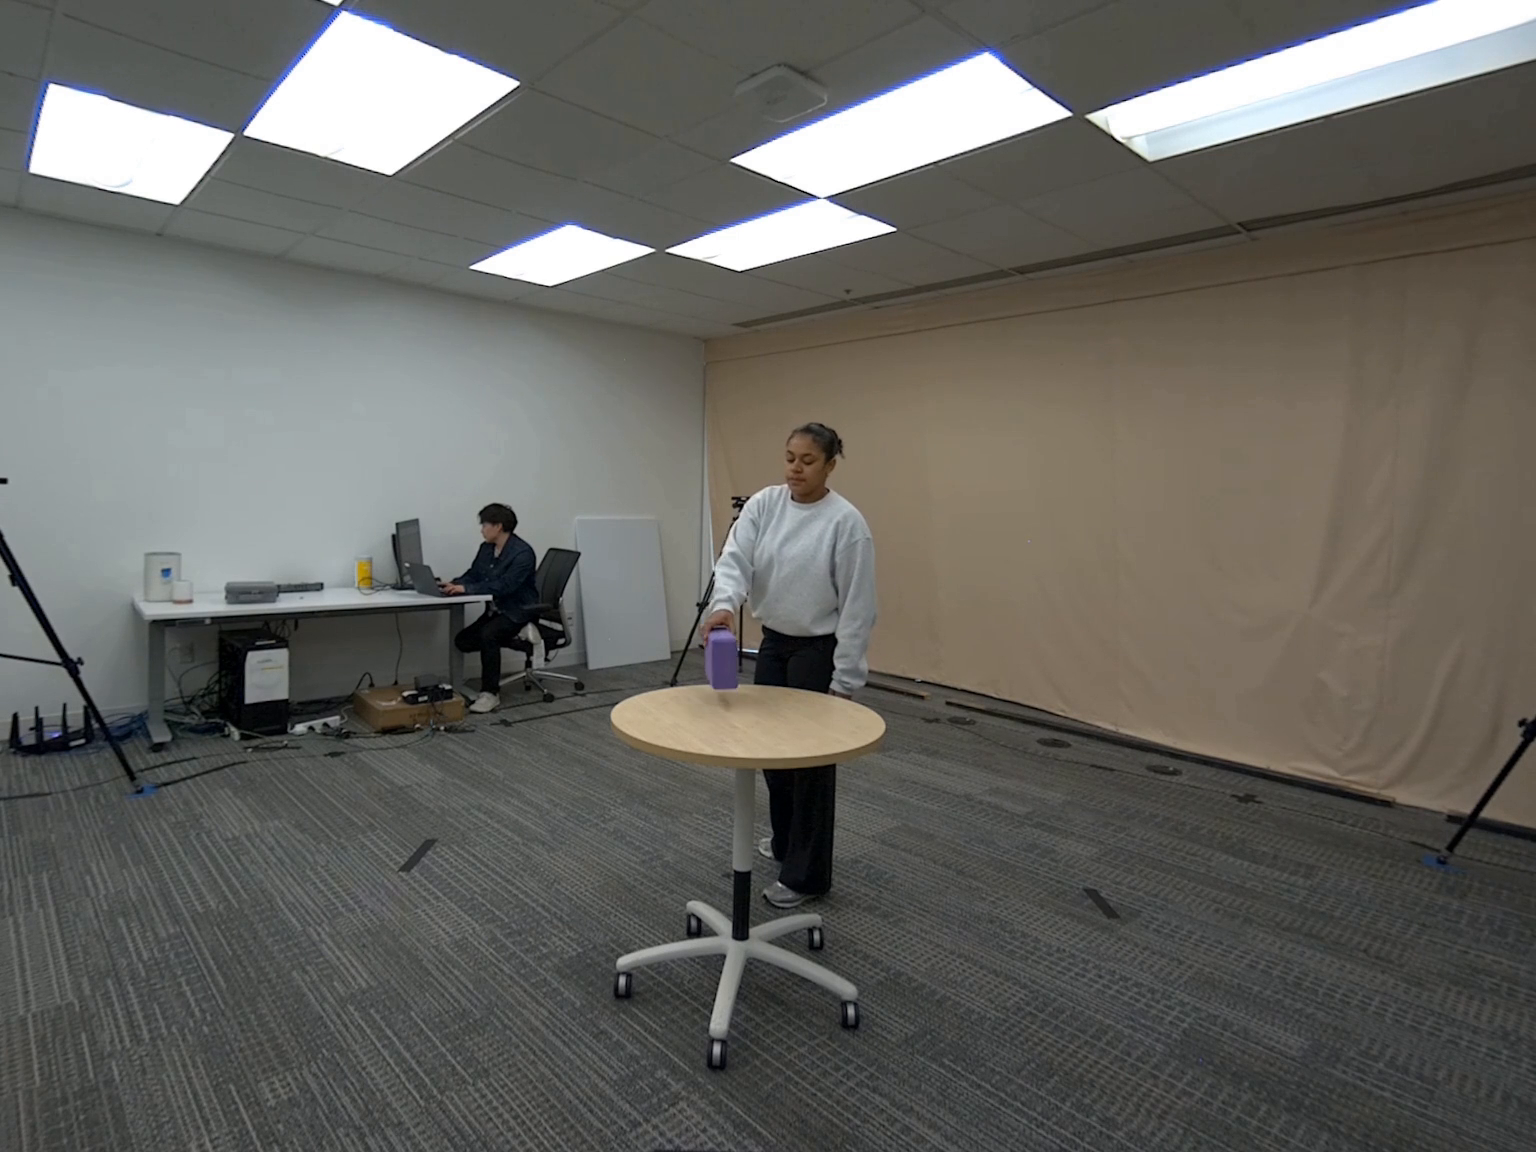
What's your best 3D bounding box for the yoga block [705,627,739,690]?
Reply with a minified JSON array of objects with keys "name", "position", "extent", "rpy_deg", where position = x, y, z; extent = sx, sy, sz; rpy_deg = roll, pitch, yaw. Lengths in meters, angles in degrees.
[{"name":"yoga block","position":[-0.153,0.236,2.535],"extent":[0.076,0.149,0.230],"rpy_deg":[0,1,-5]}]
